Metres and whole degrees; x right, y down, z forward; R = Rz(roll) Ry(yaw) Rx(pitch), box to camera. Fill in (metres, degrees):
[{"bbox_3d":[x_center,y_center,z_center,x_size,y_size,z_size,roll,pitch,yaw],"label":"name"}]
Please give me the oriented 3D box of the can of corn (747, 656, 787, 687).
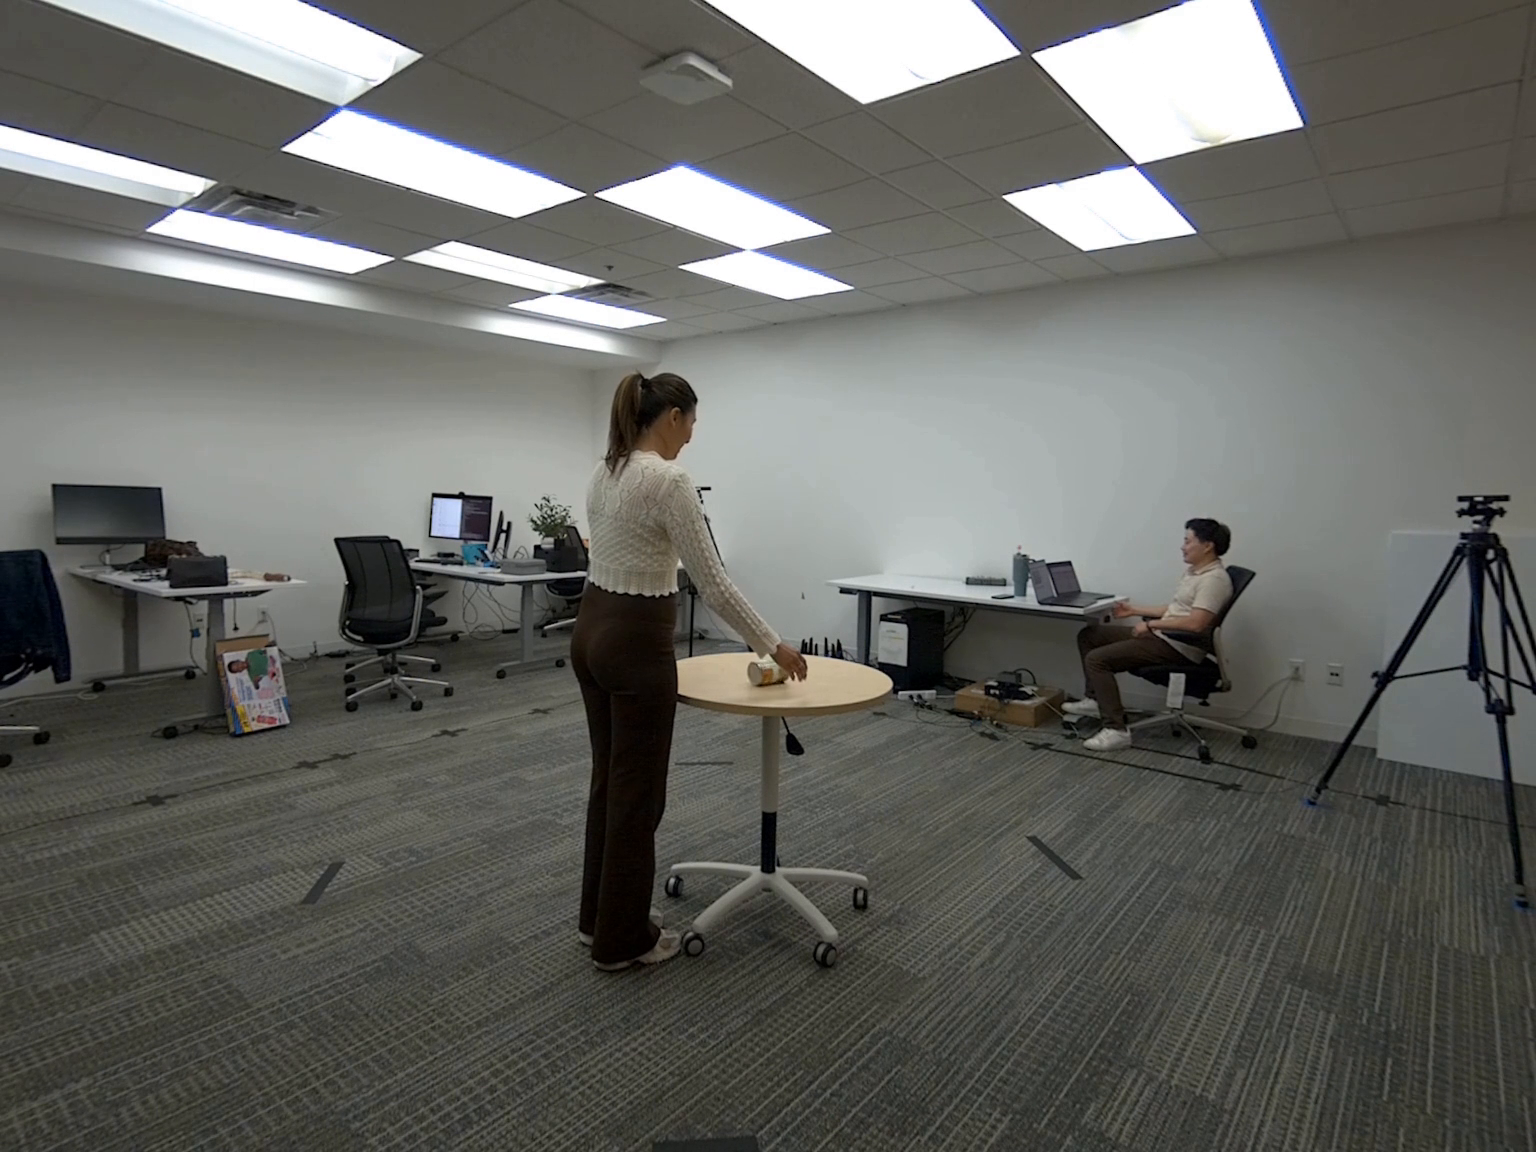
[{"bbox_3d":[-0.009,0.298,2.655,0.109,0.074,0.075,-2,5,-15],"label":"can of corn"}]
